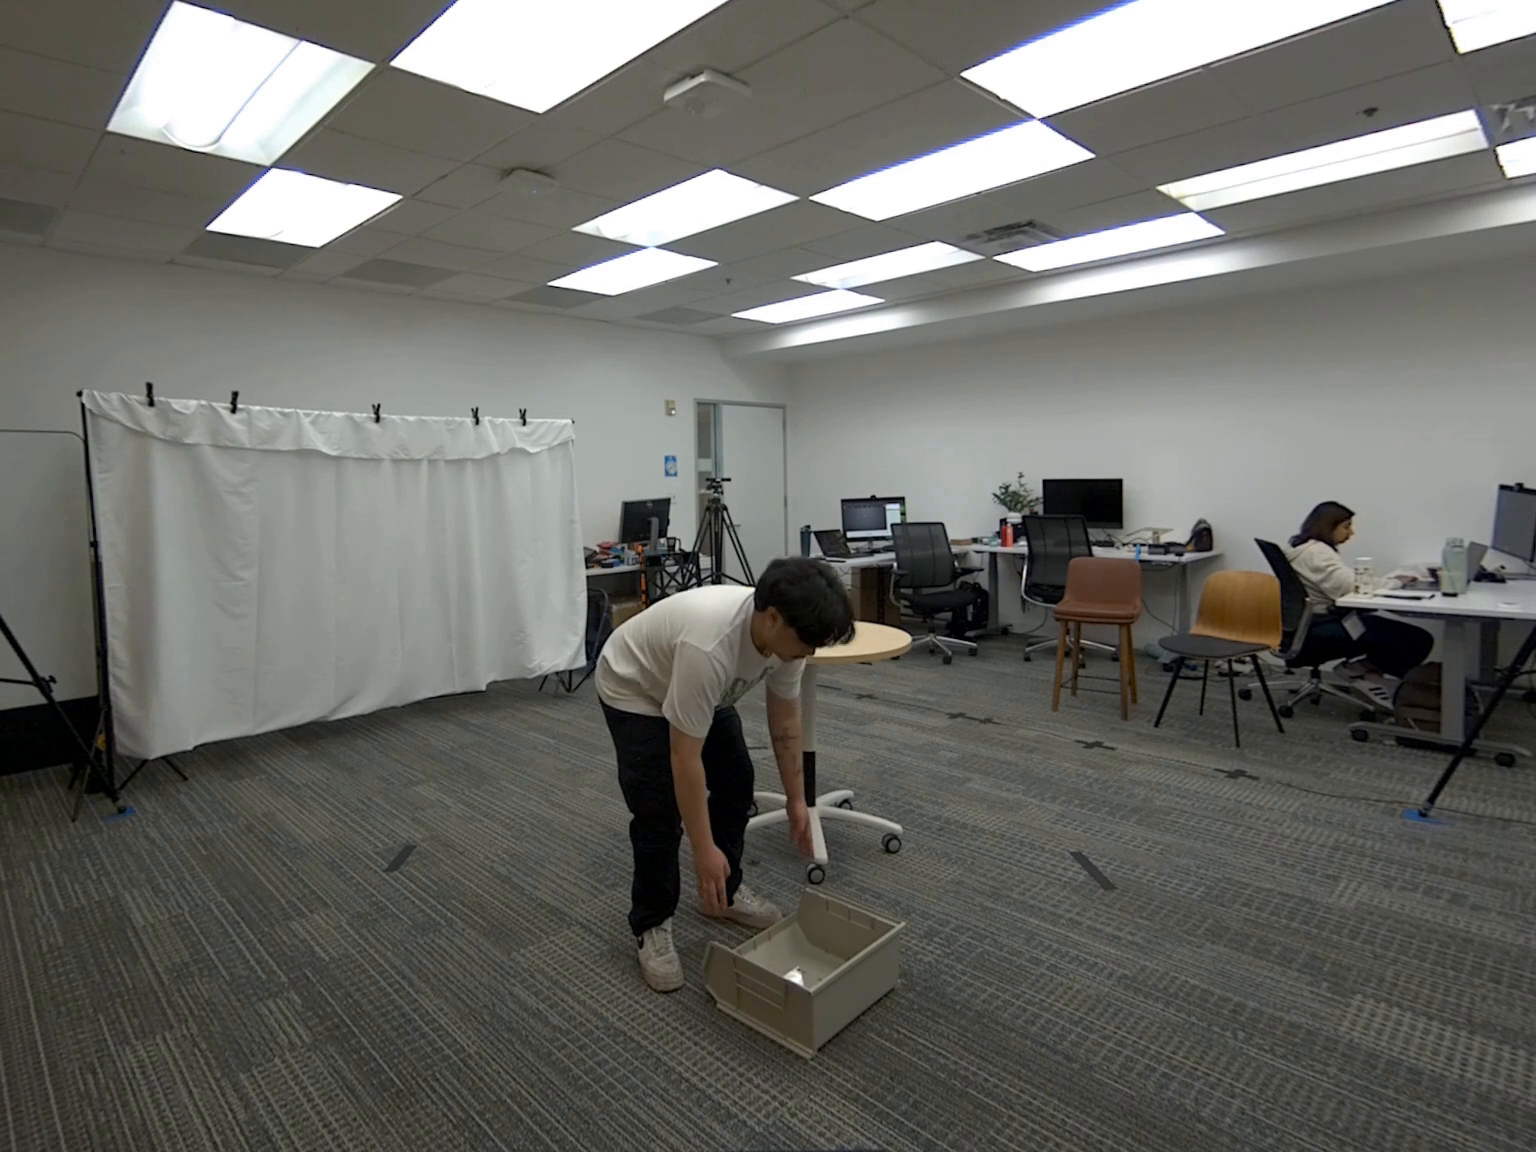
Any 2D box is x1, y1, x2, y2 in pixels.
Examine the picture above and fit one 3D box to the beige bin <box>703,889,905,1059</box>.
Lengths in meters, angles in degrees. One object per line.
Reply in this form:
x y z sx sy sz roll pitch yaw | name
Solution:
0.091 1.041 2.316 0.389 0.188 0.411 6 8 42 | beige bin
